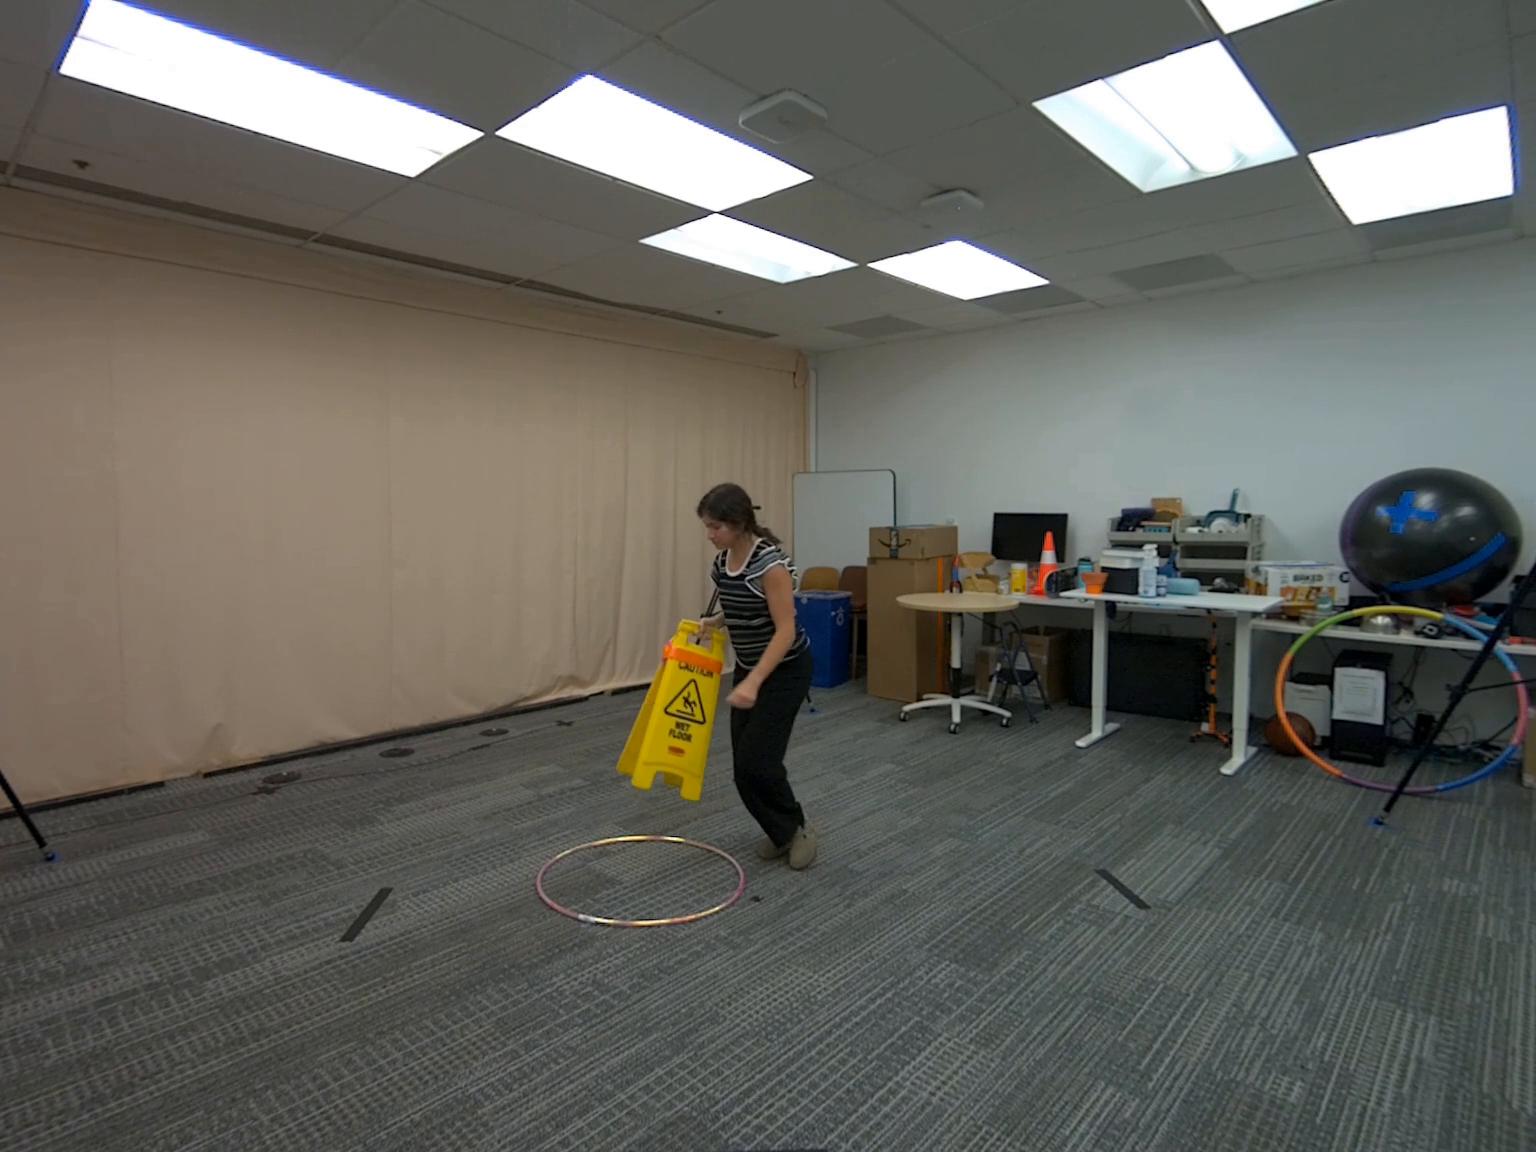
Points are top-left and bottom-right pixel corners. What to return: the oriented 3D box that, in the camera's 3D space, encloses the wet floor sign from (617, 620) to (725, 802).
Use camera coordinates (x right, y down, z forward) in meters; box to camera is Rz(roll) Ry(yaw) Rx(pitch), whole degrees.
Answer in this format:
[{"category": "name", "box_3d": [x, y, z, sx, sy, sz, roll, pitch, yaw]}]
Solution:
[{"category": "wet floor sign", "box_3d": [-0.333, 0.484, 3.320, 0.276, 0.647, 0.296, 17, -7, -20]}]
